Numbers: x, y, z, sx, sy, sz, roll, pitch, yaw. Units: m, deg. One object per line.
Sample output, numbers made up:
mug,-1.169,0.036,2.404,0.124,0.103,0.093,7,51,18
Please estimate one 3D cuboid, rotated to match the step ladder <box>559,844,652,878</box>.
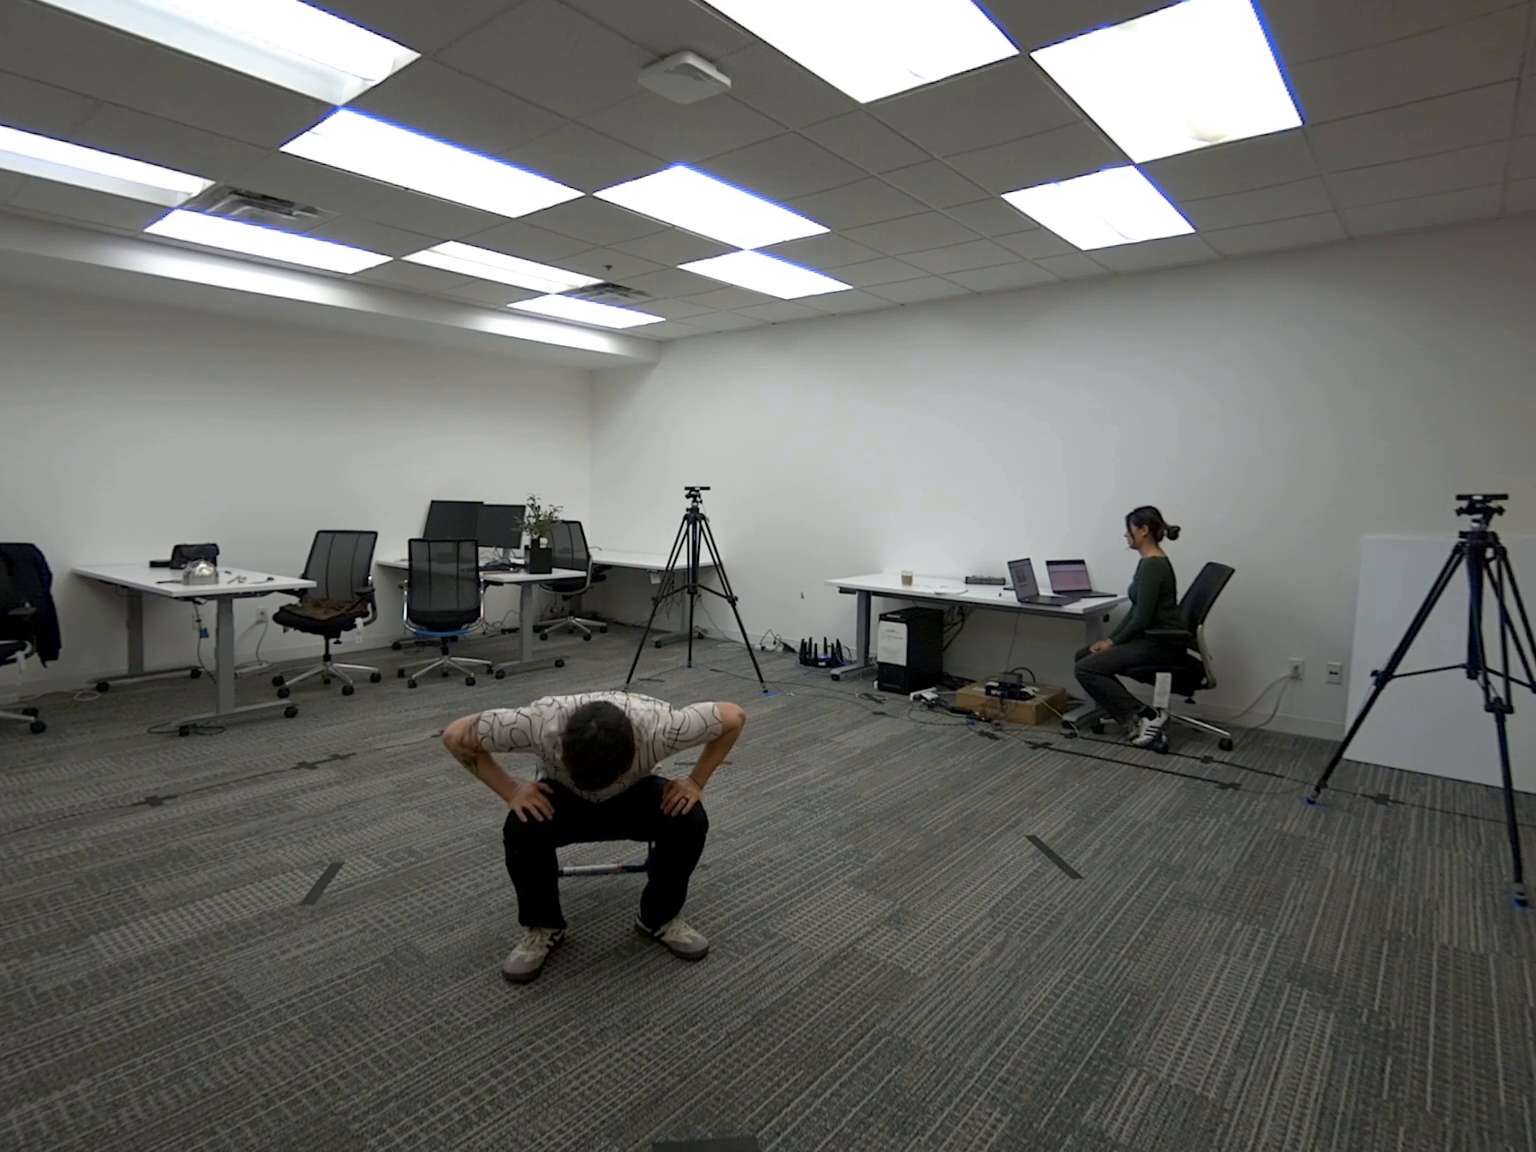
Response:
step ladder,-0.586,0.782,2.884,0.425,0.604,0.355,0,4,-13
